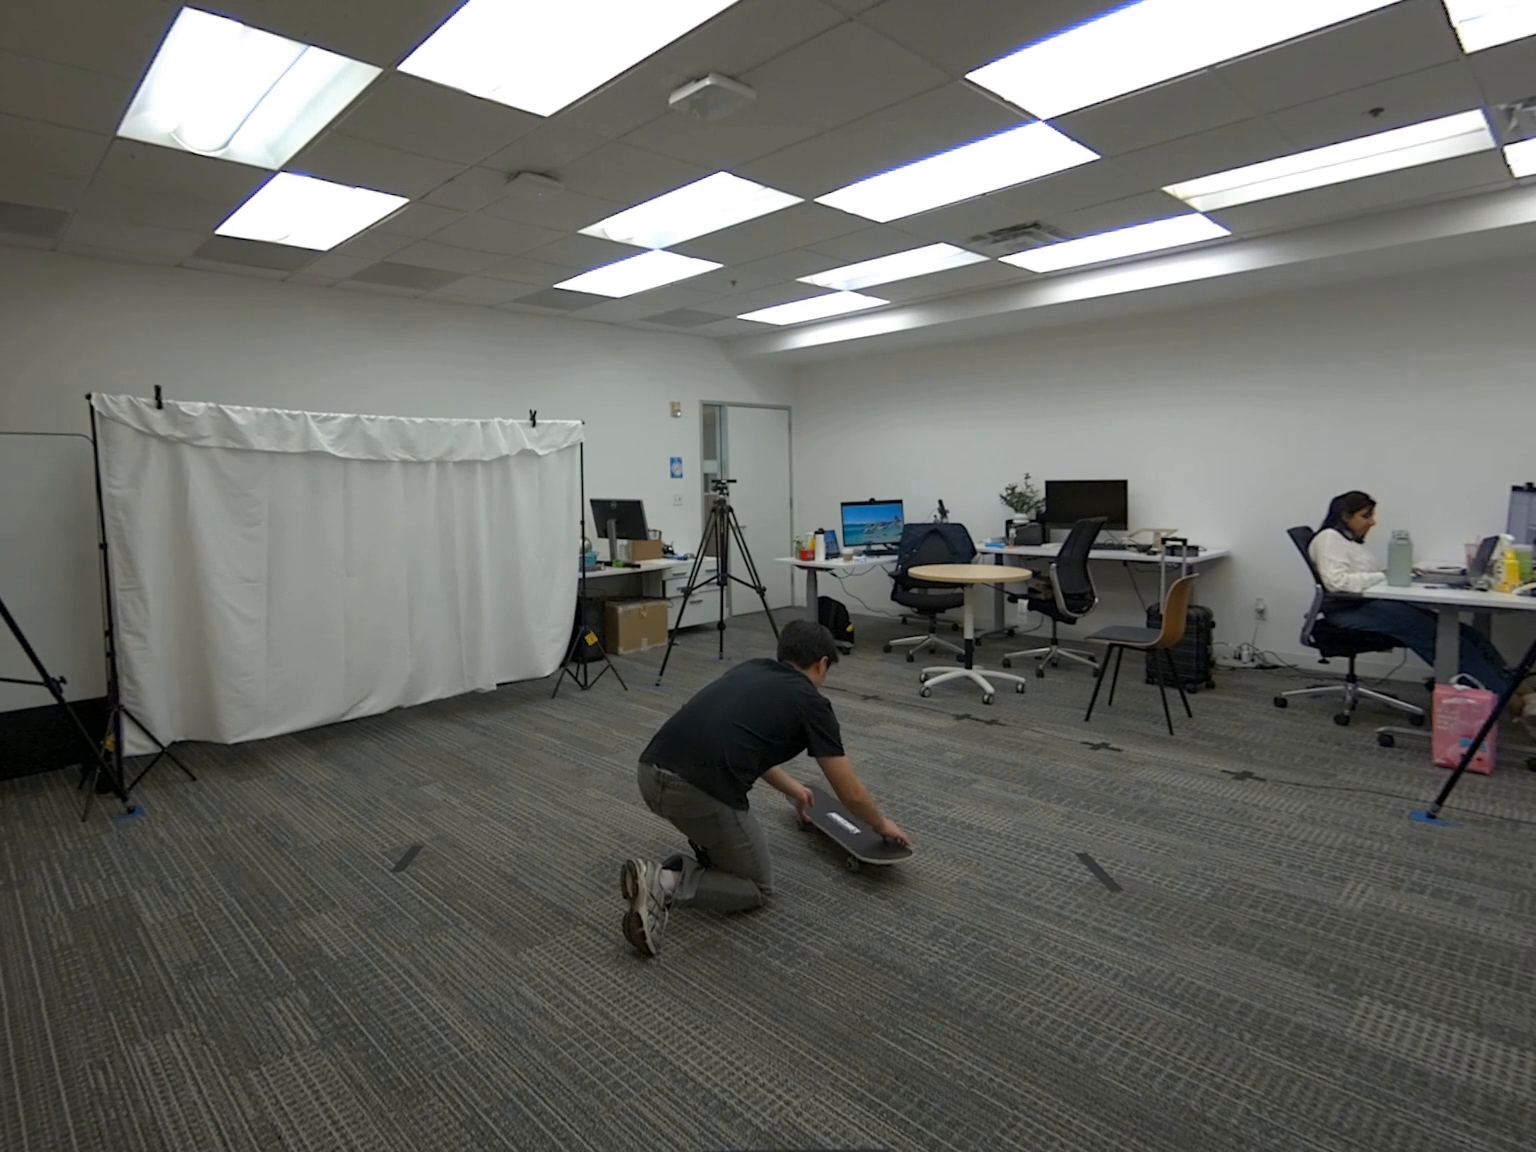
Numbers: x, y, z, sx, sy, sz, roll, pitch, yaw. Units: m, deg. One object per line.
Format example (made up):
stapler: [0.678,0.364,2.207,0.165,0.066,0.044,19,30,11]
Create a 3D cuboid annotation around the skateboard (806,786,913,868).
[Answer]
skateboard: [0.284,0.963,3.242,0.190,0.110,0.805,-5,7,-24]
